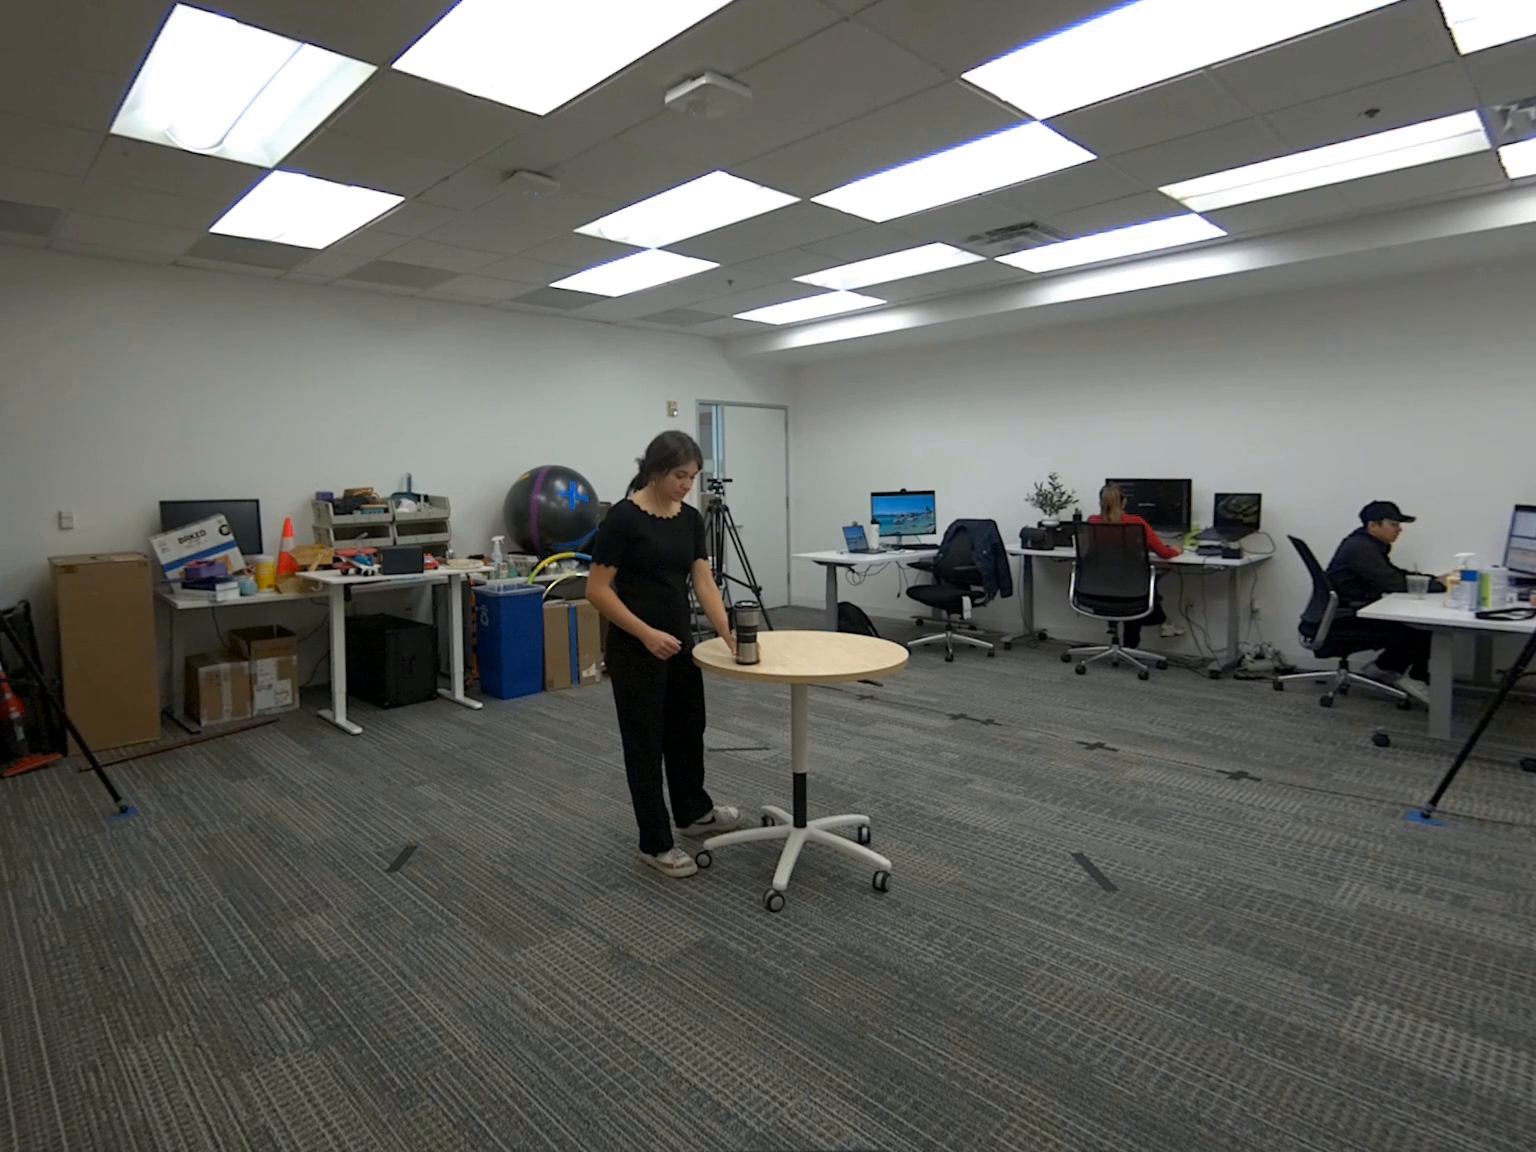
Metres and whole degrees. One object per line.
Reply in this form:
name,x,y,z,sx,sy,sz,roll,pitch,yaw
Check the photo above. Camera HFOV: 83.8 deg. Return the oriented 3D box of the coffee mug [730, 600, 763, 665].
coffee mug,-0.086,0.189,2.853,0.086,0.202,0.125,-2,7,-21
